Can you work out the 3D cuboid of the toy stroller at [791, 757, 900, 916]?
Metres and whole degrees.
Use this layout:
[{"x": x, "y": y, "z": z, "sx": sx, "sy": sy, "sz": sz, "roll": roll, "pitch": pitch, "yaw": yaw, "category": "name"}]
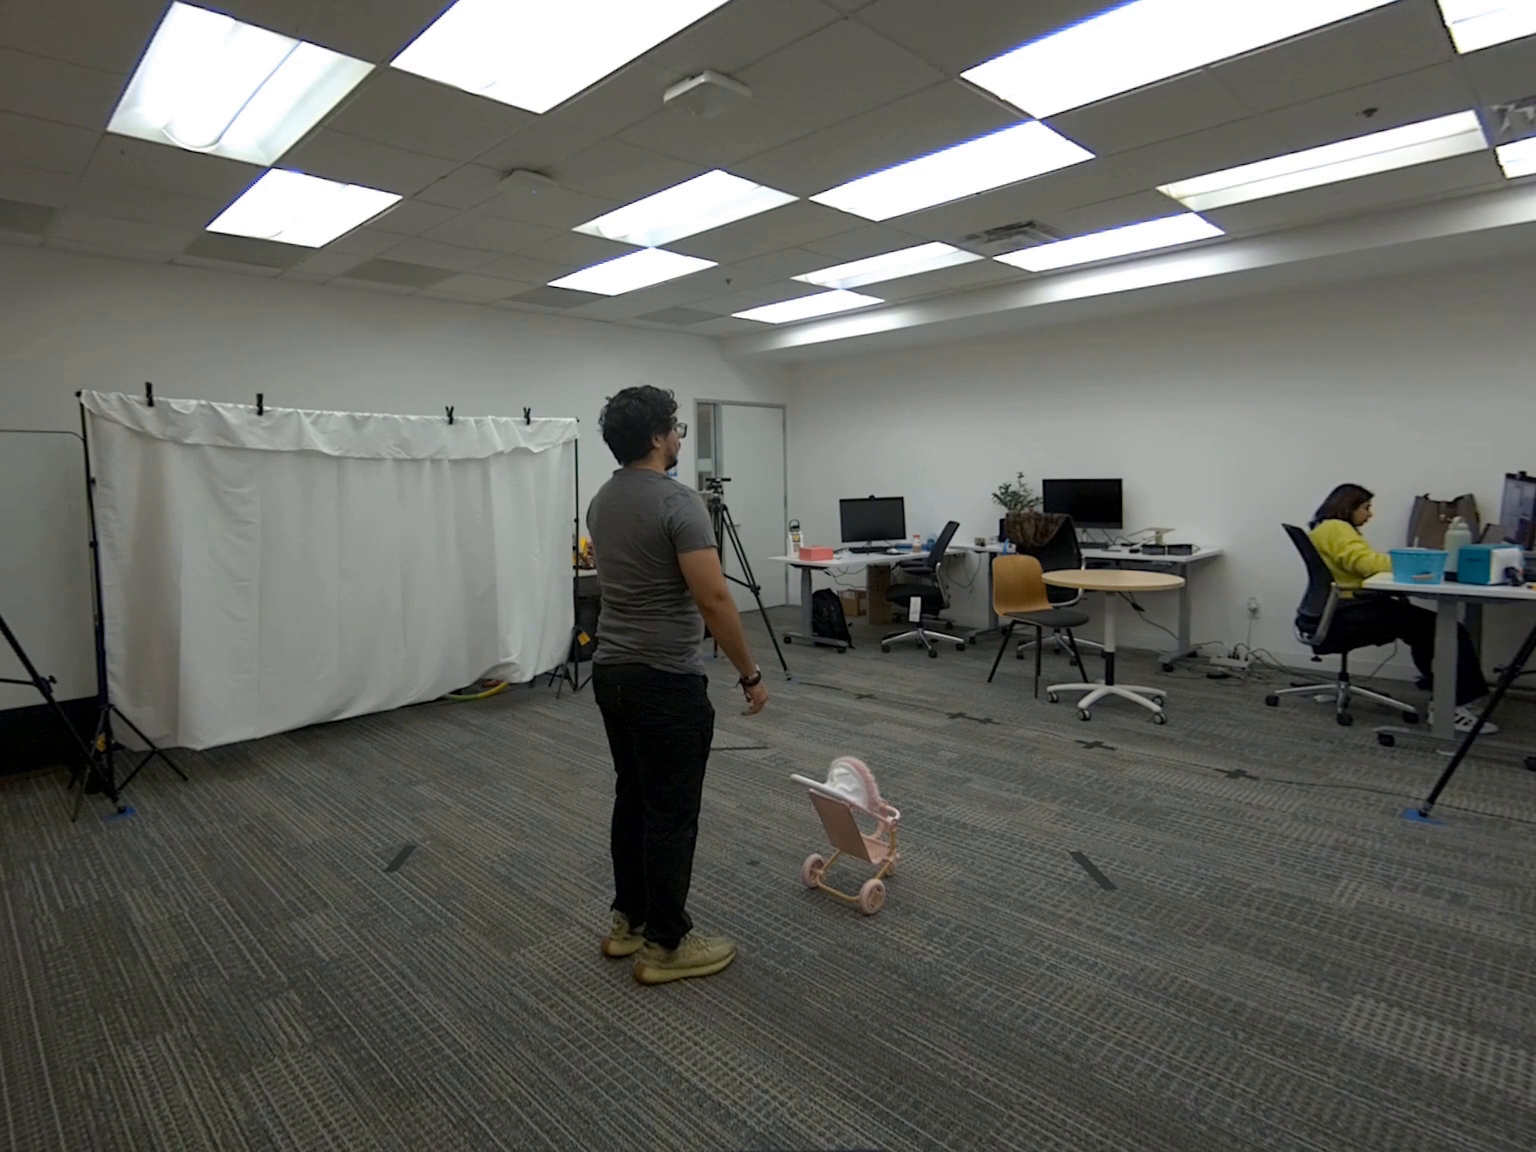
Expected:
[{"x": 0.291, "y": 0.836, "z": 2.852, "sx": 0.336, "sy": 0.527, "sz": 0.290, "roll": -22, "pitch": 17, "yaw": -36, "category": "toy stroller"}]
